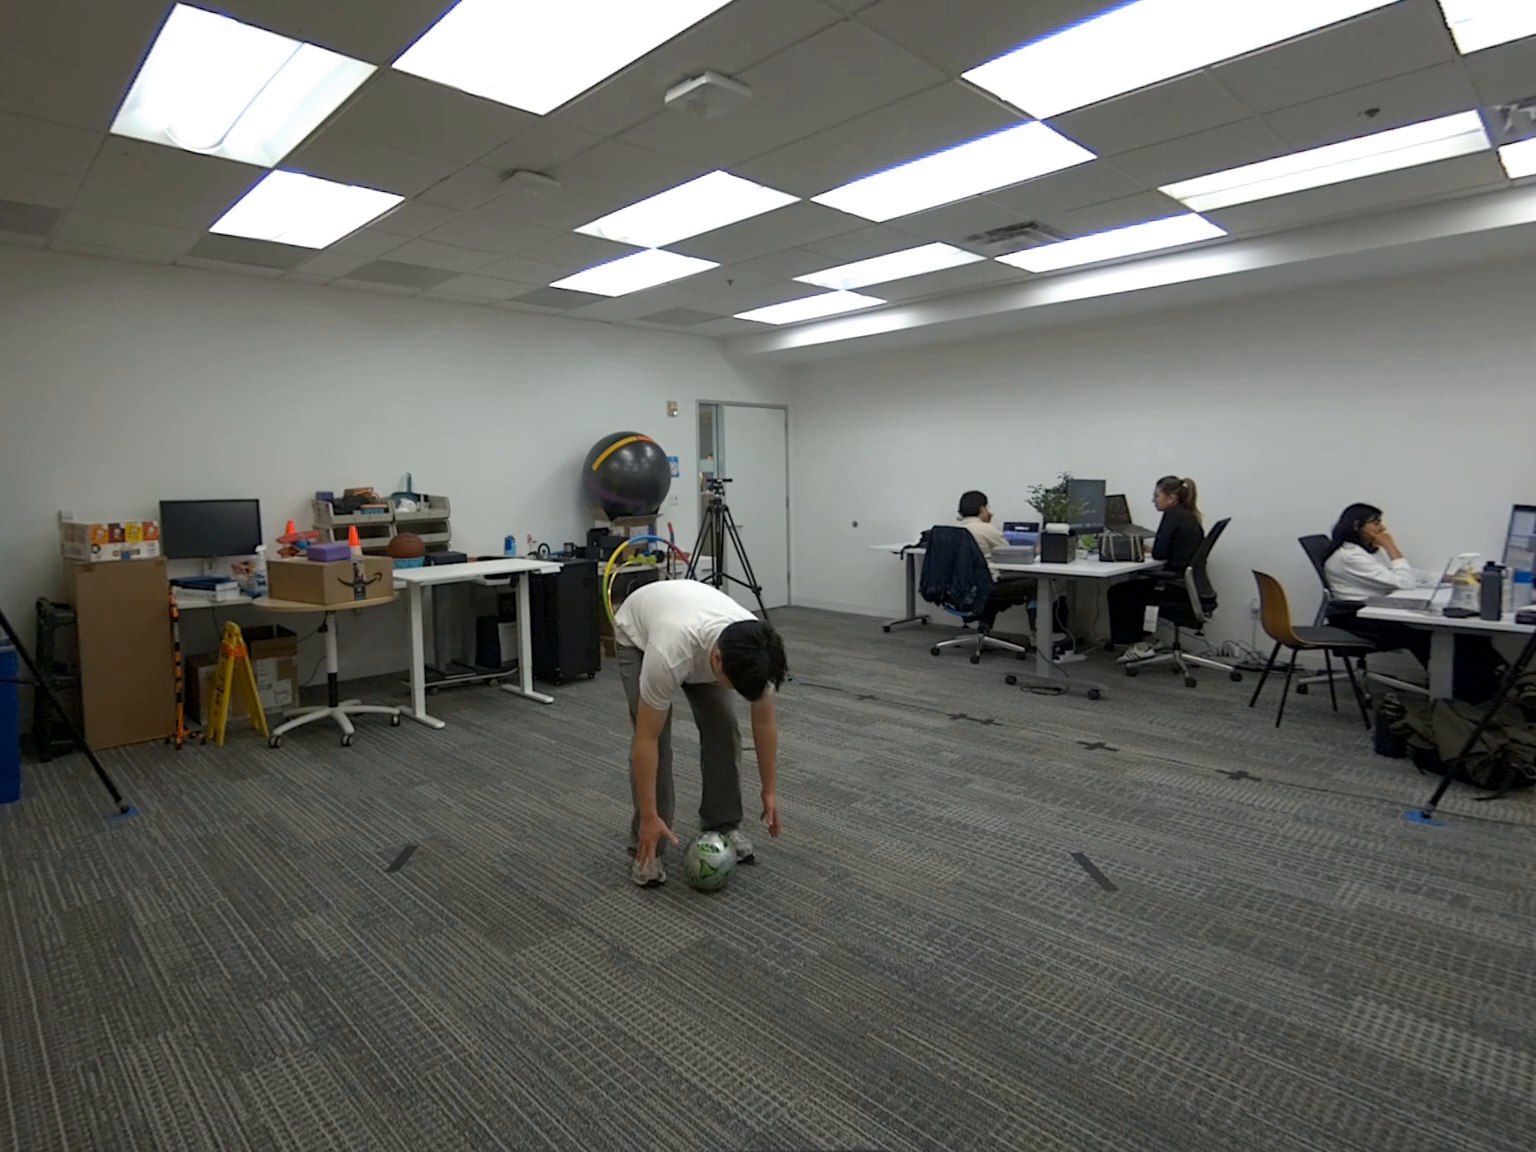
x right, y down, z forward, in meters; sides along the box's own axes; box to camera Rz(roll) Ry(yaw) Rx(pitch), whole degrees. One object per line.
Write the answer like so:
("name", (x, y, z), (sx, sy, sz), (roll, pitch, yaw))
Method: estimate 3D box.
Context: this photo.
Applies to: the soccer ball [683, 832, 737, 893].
("soccer ball", (-0.198, 0.985, 2.935), (0.187, 0.187, 0.188), (-1, 5, -2))
